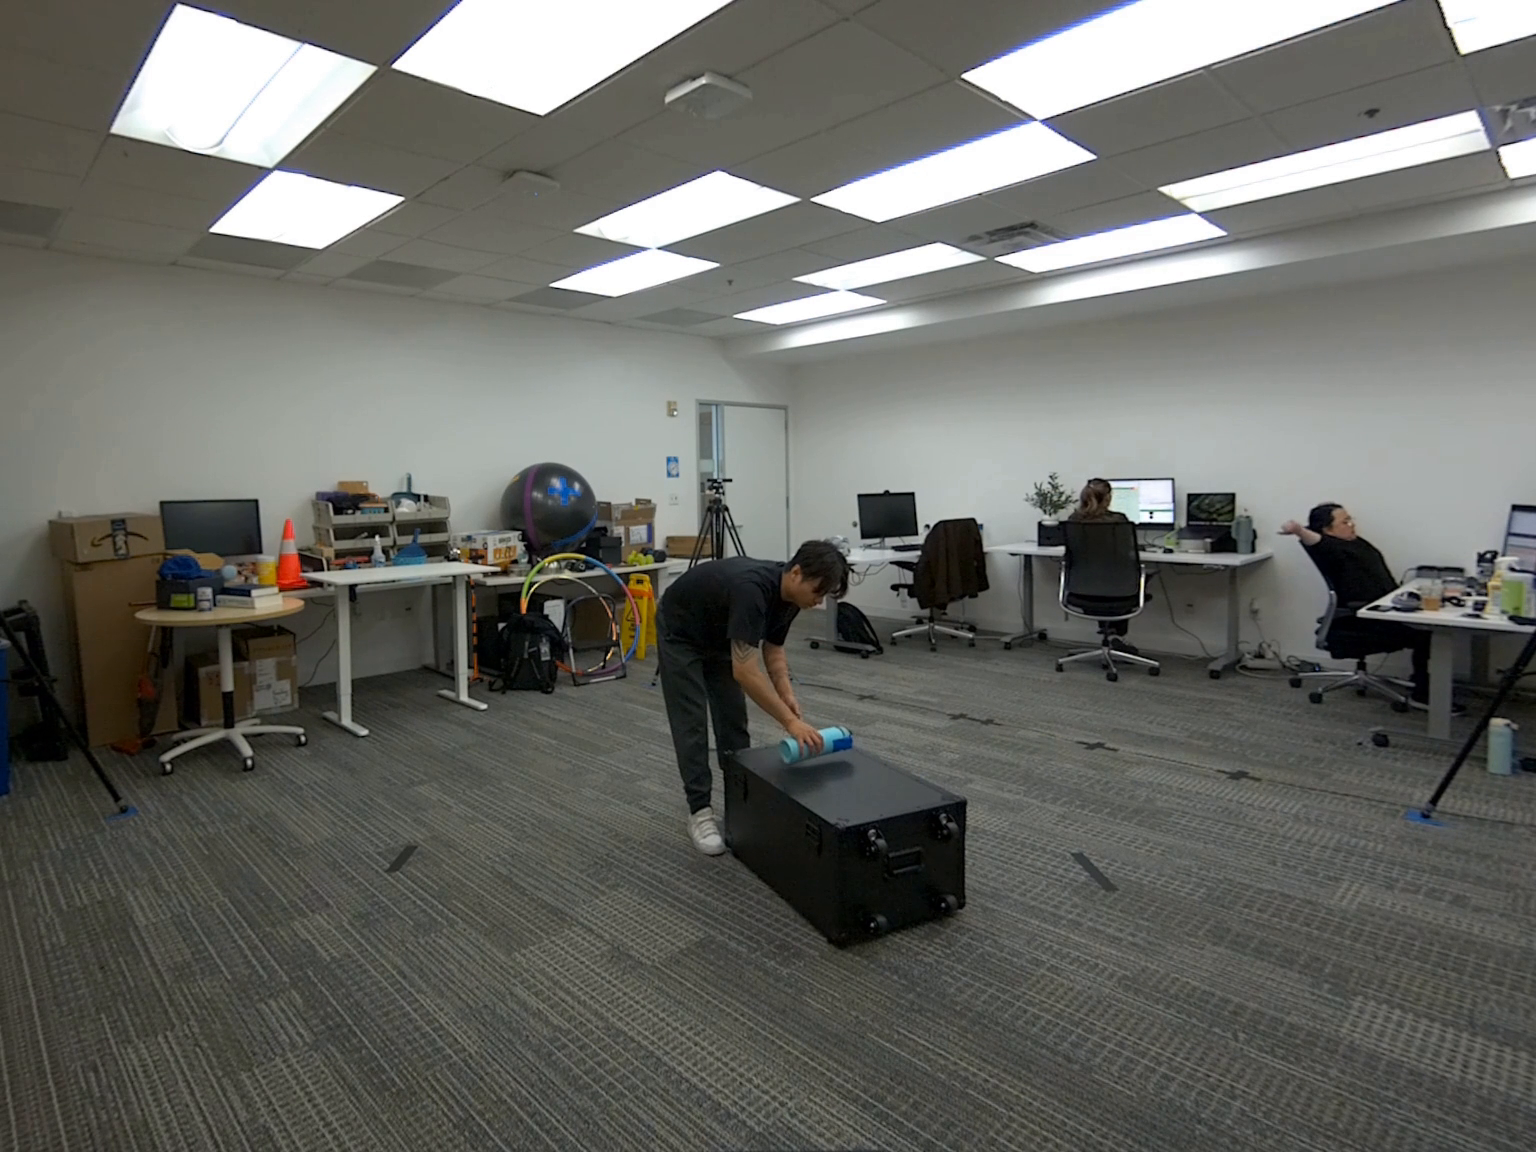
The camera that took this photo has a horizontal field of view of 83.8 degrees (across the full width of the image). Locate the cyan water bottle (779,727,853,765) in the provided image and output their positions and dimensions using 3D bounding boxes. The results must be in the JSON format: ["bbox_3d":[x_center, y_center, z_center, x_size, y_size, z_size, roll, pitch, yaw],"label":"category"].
[{"bbox_3d":[0.182,0.605,3.079,0.277,0.092,0.095,-7,7,-27],"label":"cyan water bottle"}]
